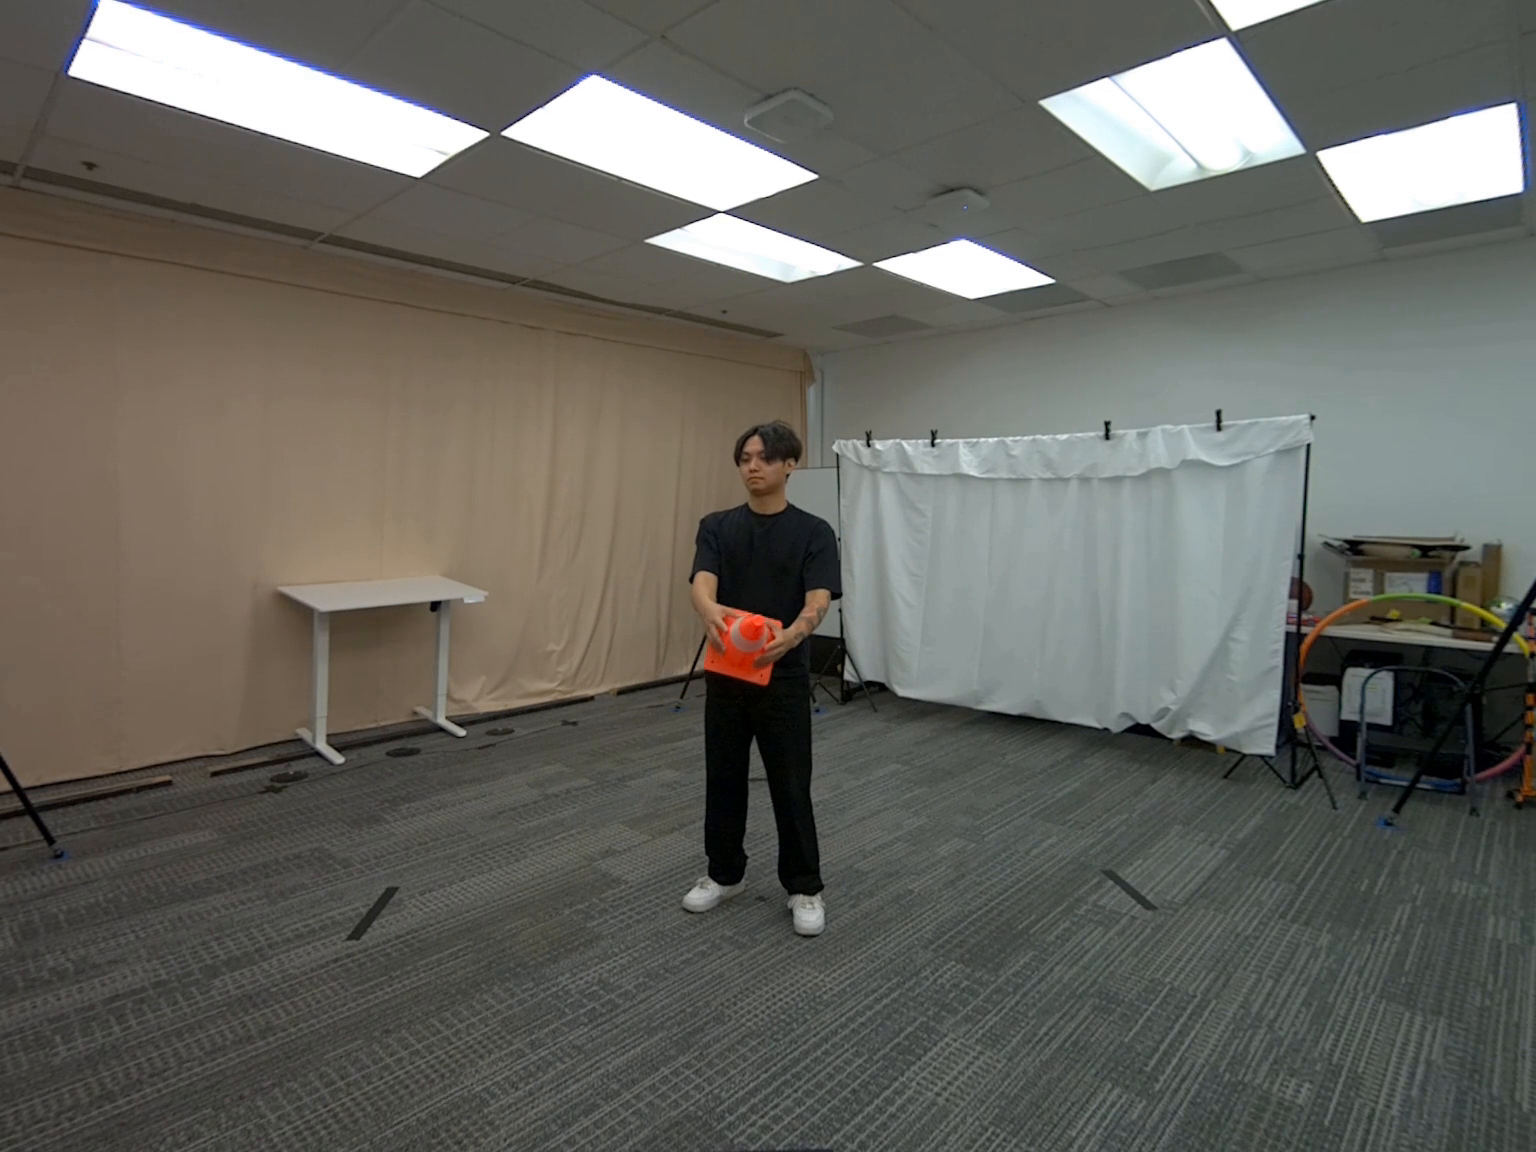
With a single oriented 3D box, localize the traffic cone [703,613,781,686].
[{"bbox_3d":[-0.063,0.150,2.320,0.205,0.205,0.380,7,-16,1],"label":"traffic cone"}]
